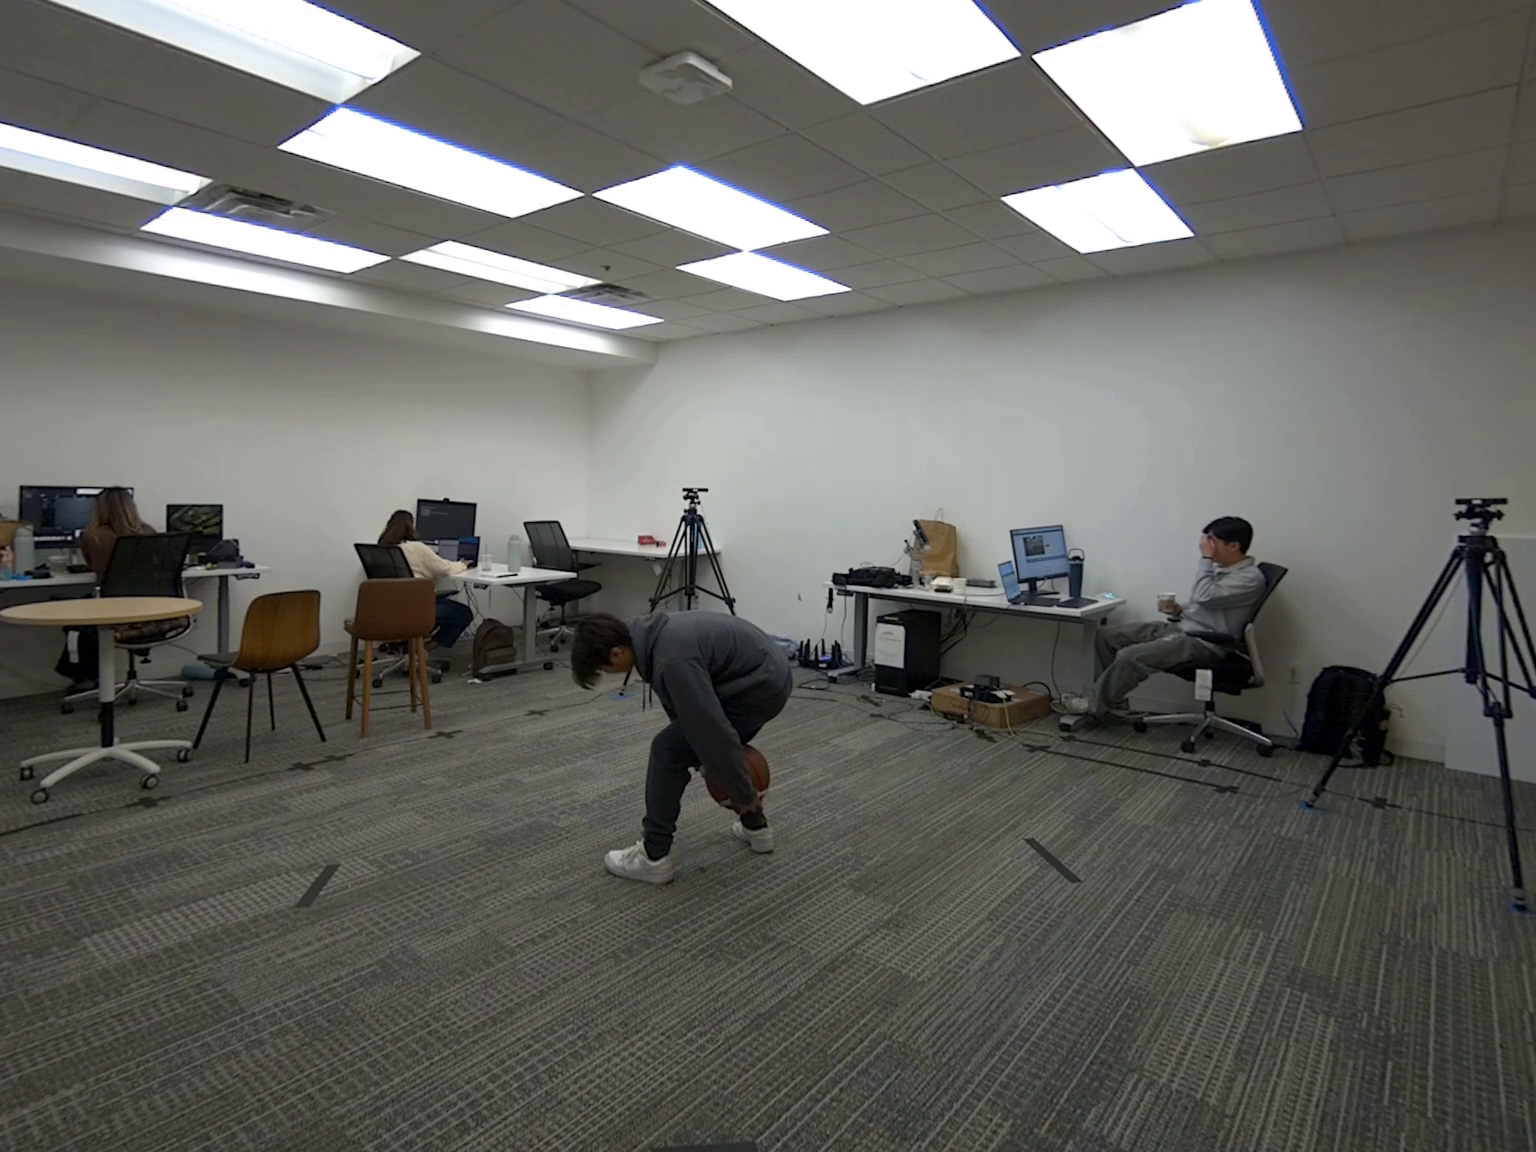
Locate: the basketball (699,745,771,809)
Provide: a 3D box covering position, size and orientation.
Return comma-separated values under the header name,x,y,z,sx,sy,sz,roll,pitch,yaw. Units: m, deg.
name,x,y,z,sx,sy,sz,roll,pitch,yaw
basketball,-0.123,0.728,3.116,0.235,0.235,0.237,1,4,-2
